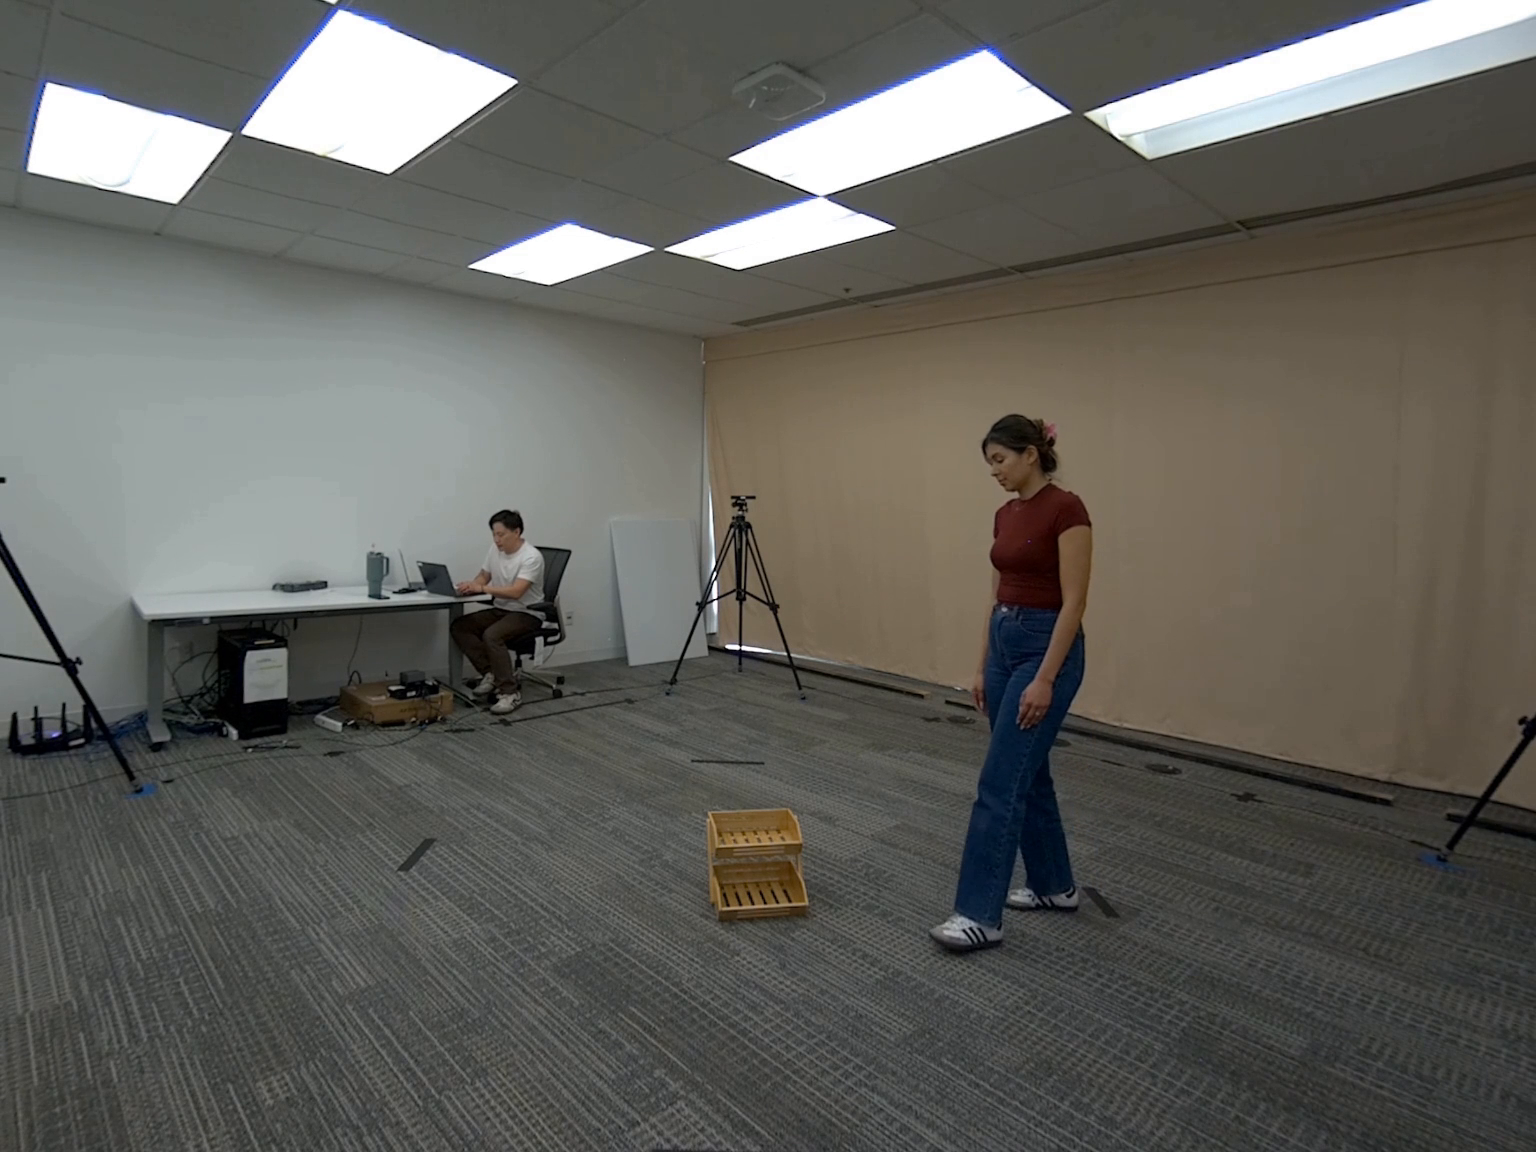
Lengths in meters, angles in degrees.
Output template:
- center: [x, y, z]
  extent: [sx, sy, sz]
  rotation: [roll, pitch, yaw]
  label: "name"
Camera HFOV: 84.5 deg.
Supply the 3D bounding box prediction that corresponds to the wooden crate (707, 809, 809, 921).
- center: [-0.045, 0.985, 2.905]
  extent: [0.322, 0.272, 0.305]
  rotation: [0, 4, -11]
  label: "wooden crate"
